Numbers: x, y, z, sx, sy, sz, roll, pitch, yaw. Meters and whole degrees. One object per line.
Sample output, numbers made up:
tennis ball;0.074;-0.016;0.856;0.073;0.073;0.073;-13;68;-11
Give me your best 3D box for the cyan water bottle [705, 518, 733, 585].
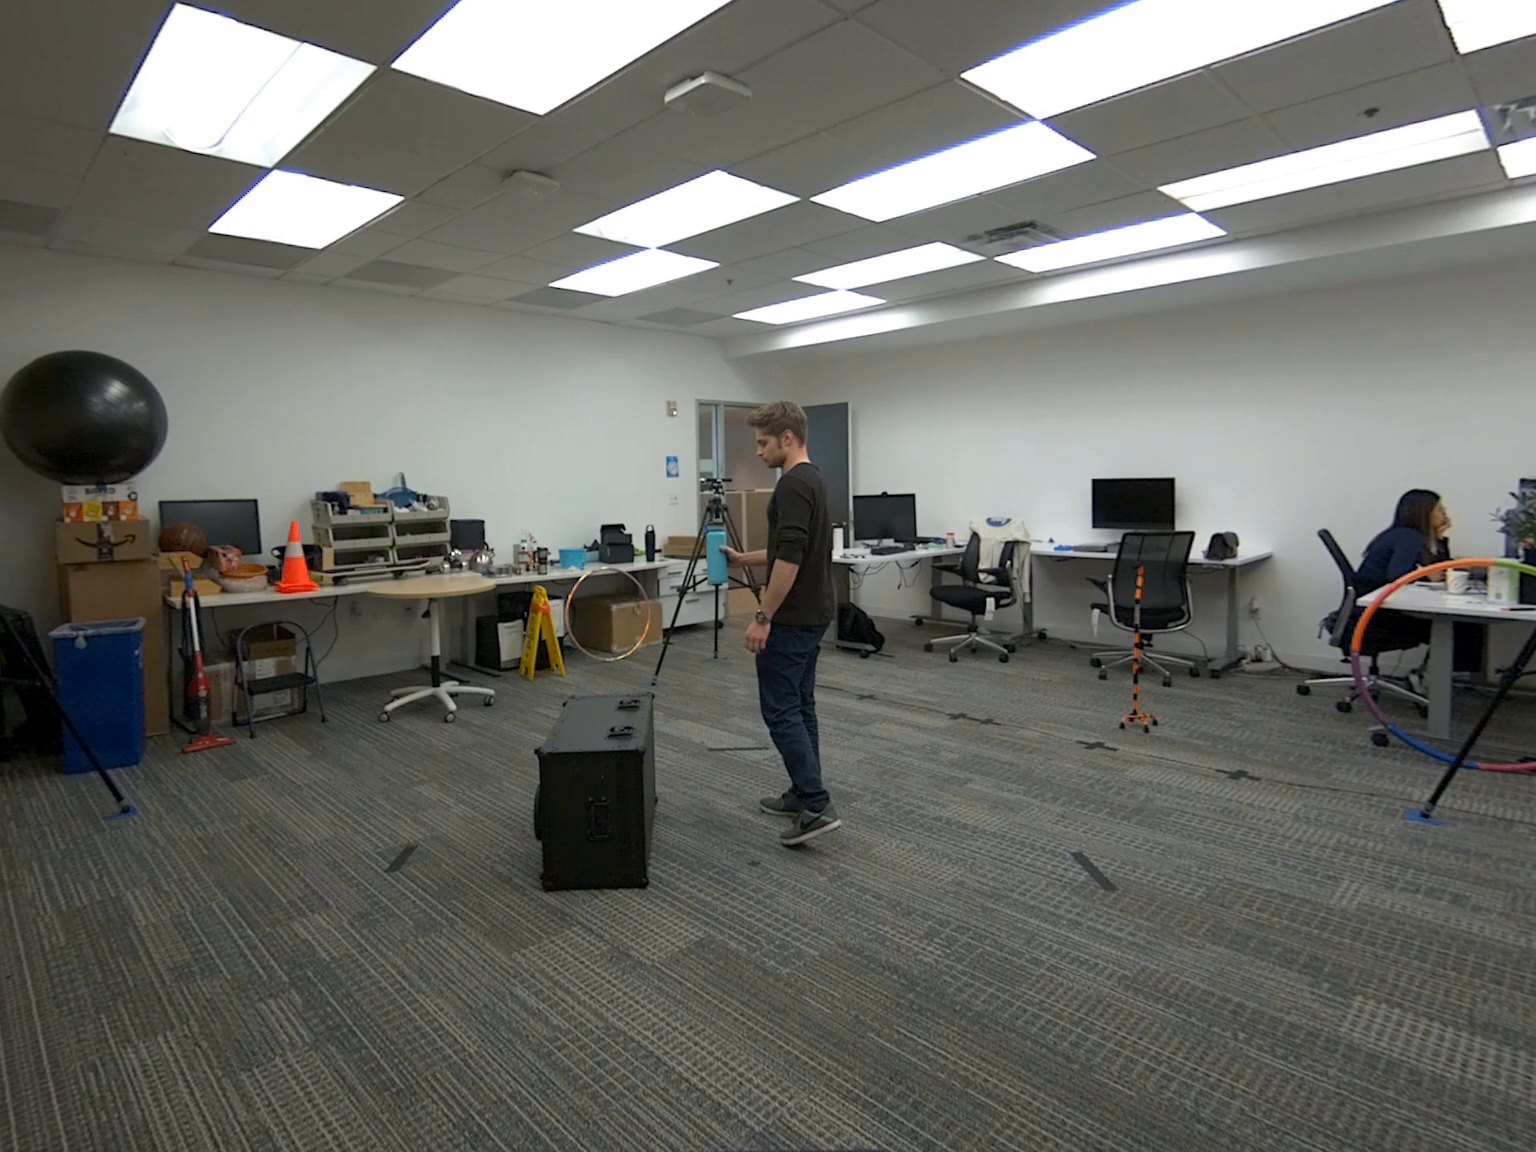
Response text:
cyan water bottle;-0.216;-0.110;3.772;0.092;0.284;0.092;-5;-2;-2
